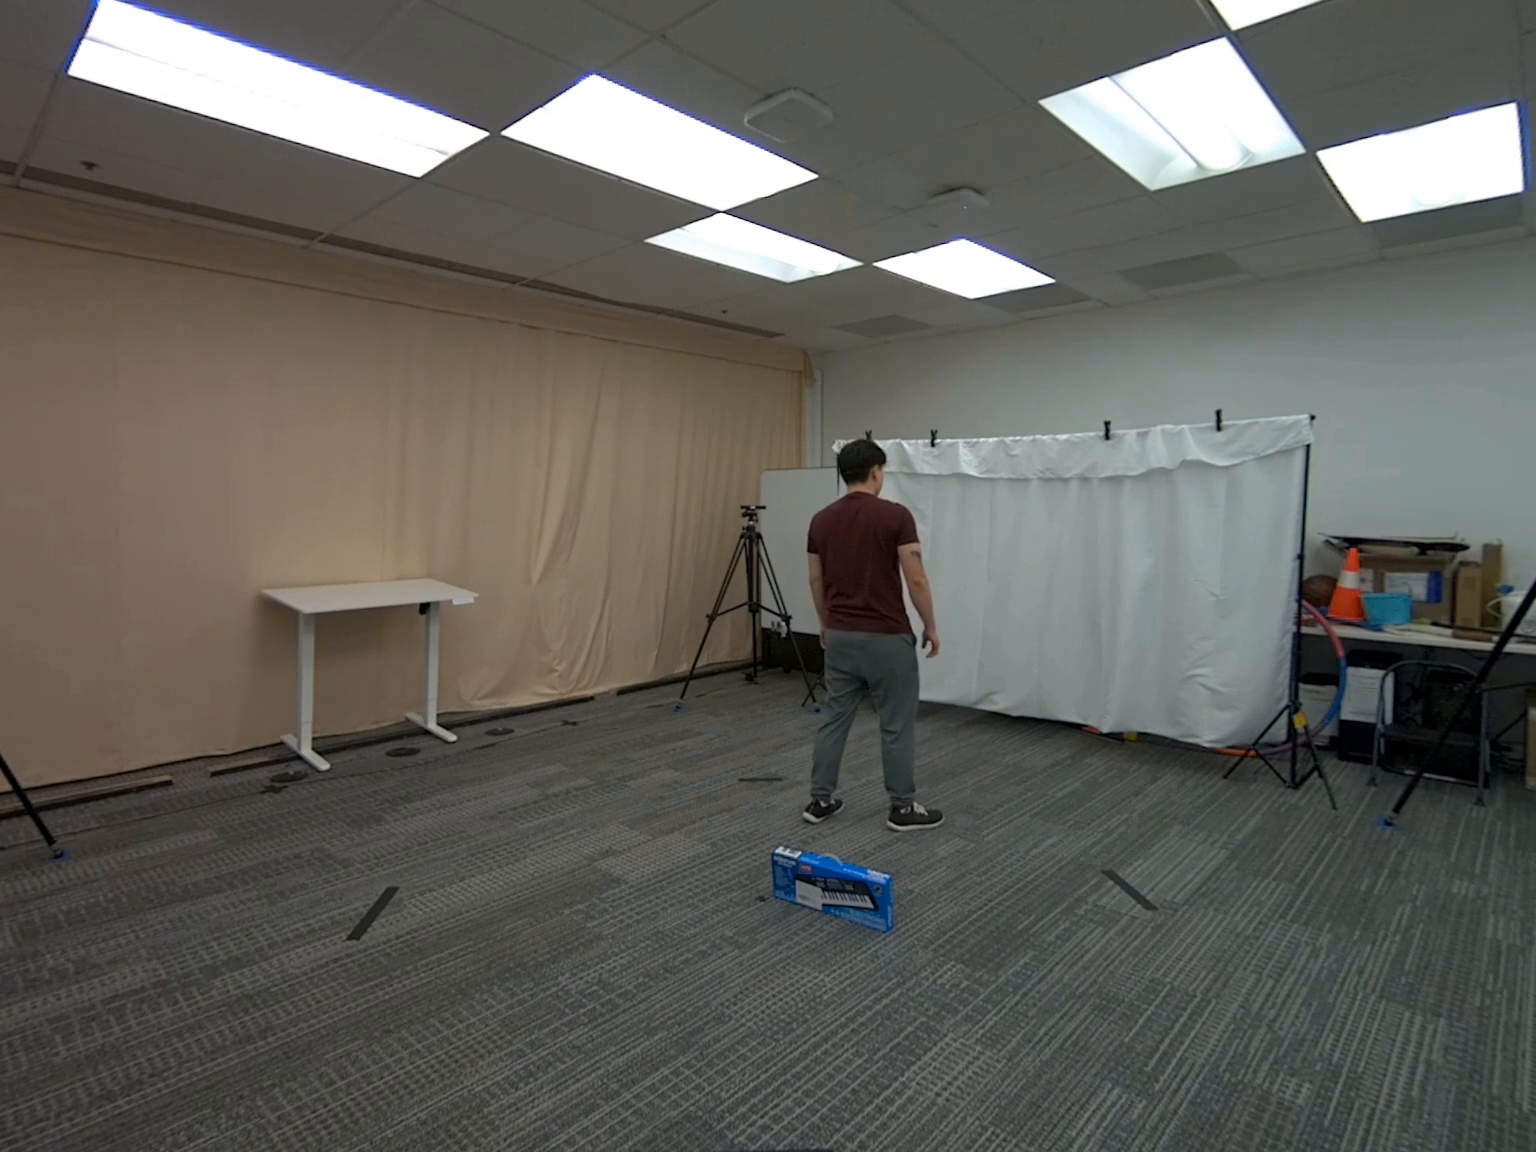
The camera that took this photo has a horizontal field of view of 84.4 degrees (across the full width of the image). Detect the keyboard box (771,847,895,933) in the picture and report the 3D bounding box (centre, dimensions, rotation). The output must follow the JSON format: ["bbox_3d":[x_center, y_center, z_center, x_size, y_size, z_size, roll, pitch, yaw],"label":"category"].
[{"bbox_3d":[0.217,1.065,2.876,0.450,0.175,0.057,3,10,34],"label":"keyboard box"}]
